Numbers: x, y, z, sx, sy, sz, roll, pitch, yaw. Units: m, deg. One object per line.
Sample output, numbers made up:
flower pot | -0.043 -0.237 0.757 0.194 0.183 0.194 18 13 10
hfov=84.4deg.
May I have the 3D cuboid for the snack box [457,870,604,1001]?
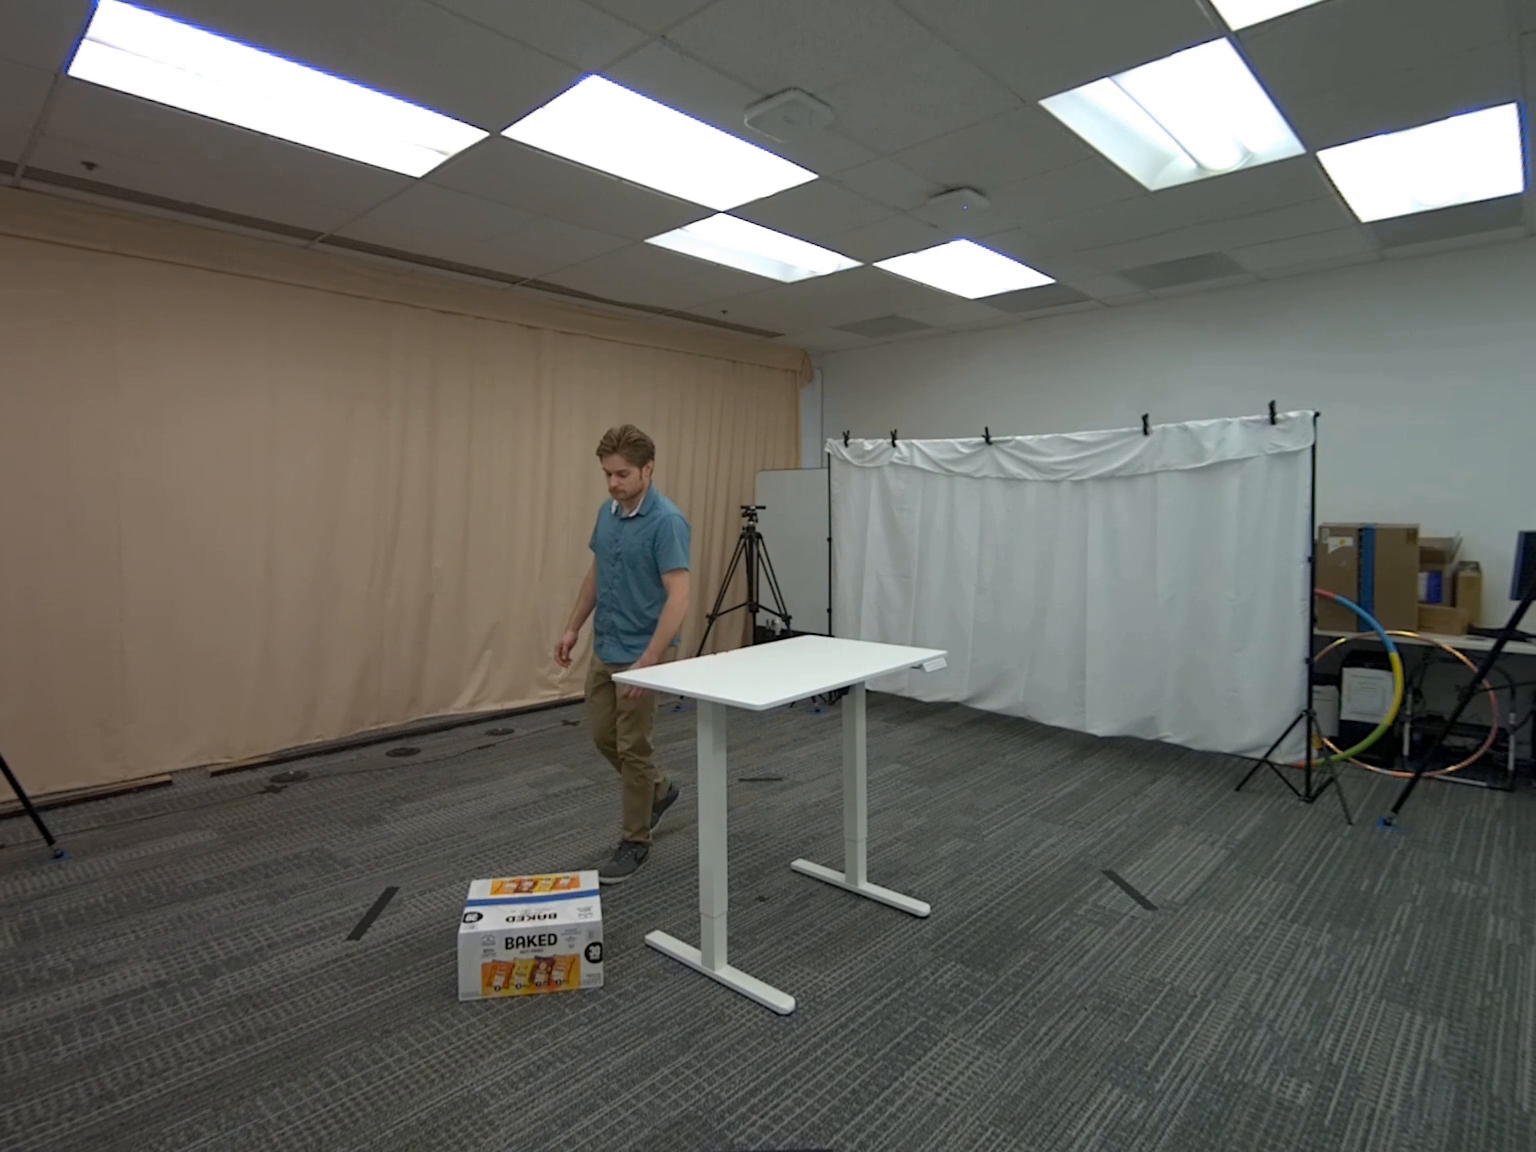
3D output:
snack box | -0.713 1.083 2.558 0.400 0.205 0.345 -1 4 -12
